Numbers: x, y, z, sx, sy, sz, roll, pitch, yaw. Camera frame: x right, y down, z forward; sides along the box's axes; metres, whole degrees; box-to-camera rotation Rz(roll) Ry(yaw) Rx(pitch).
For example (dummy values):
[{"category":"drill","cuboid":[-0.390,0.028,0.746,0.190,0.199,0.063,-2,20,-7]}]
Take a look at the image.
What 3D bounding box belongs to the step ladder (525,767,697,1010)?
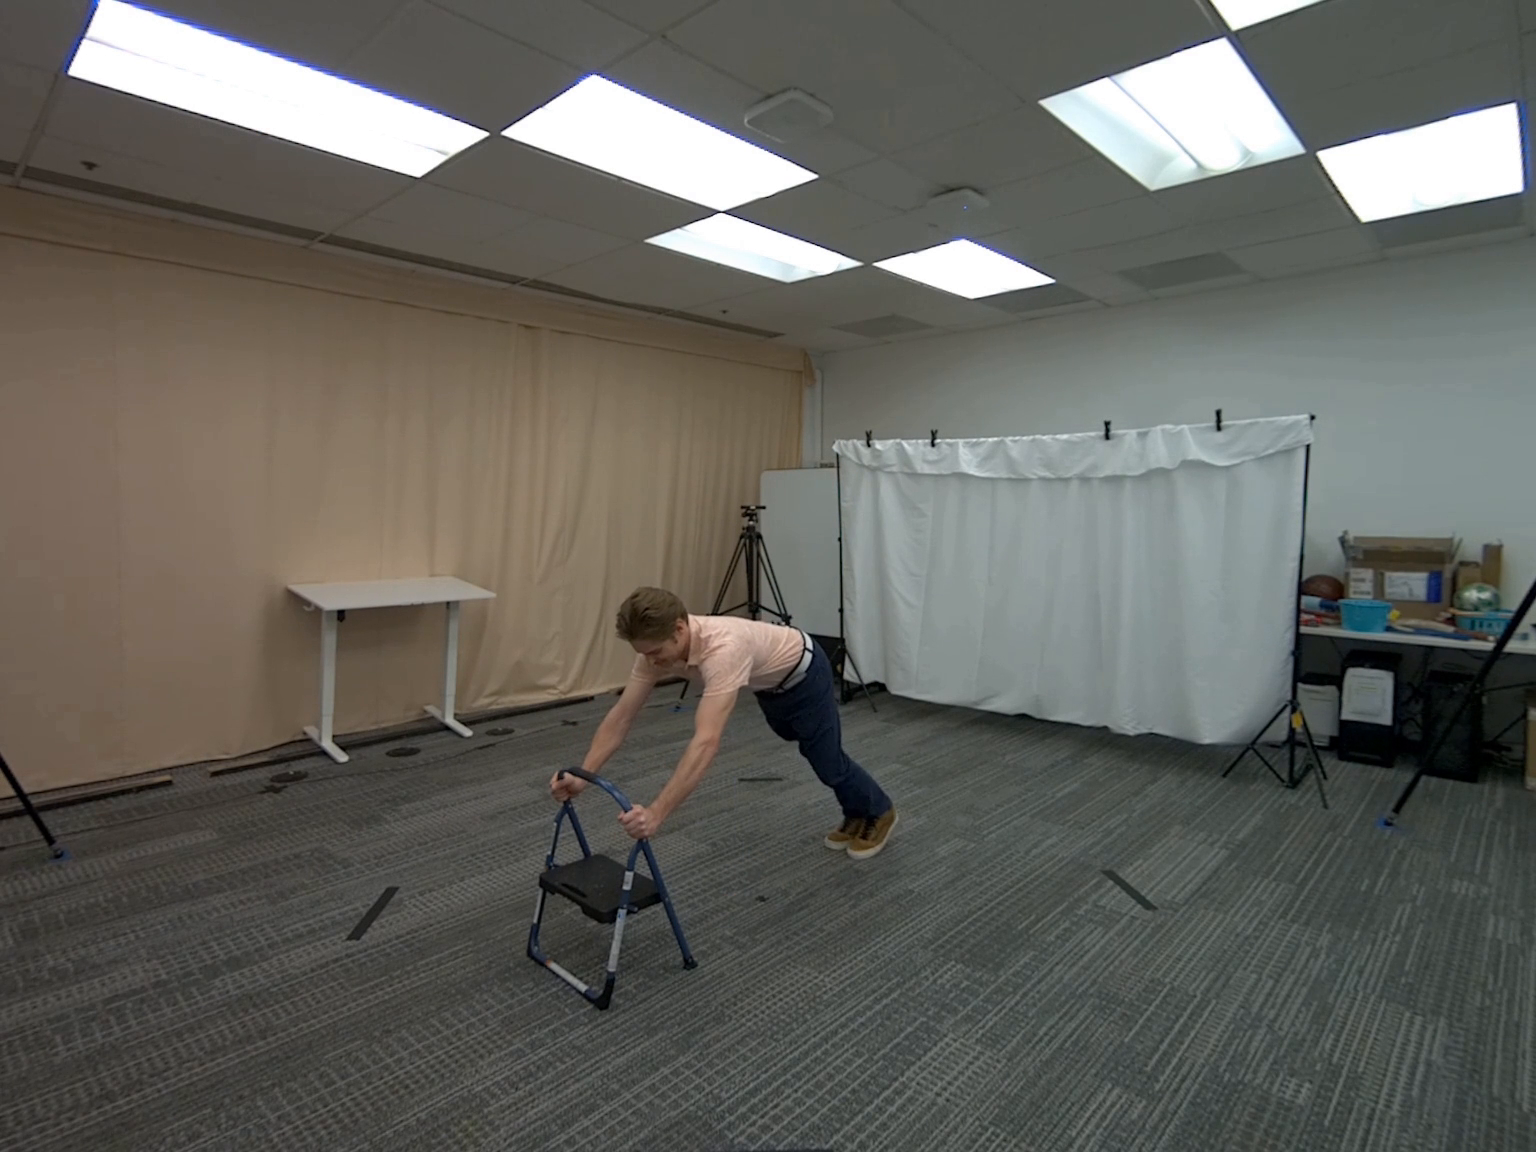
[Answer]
[{"category":"step ladder","cuboid":[-0.485,0.883,2.568,0.445,0.605,0.338,2,4,44]}]
